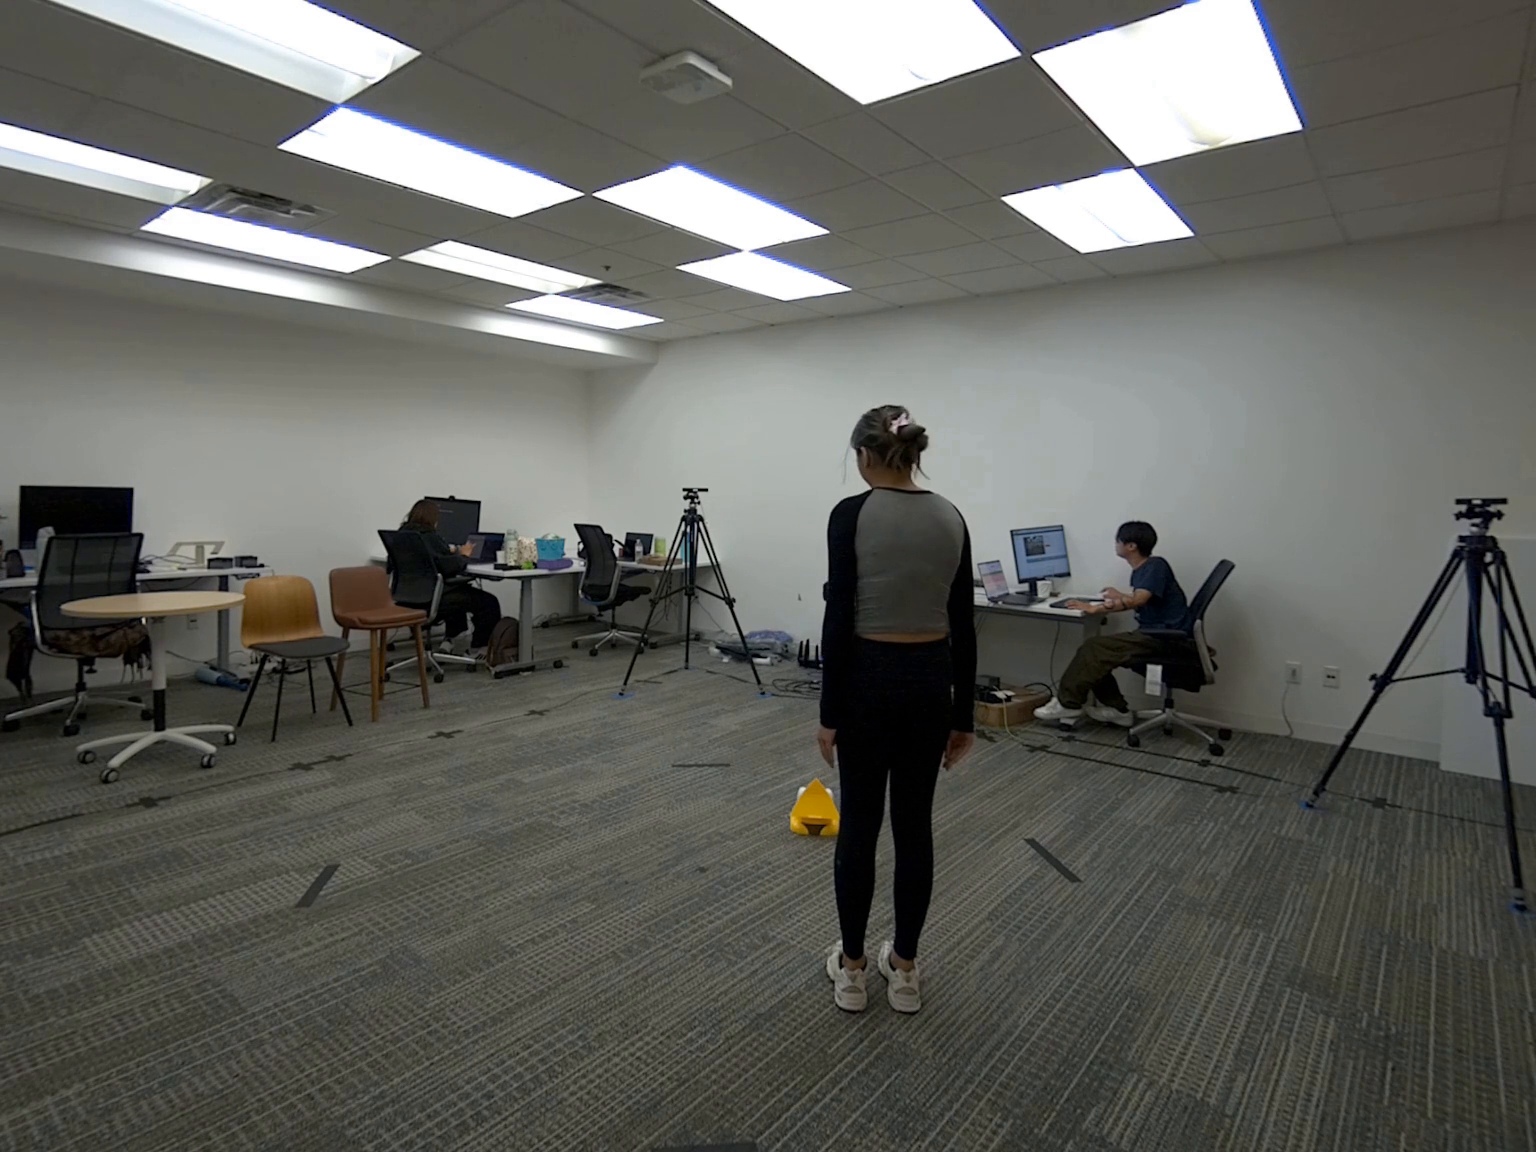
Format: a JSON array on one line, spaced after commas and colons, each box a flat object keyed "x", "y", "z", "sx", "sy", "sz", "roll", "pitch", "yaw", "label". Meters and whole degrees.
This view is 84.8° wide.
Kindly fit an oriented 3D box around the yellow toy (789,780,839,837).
[{"x": 0.183, "y": 0.926, "z": 3.511, "sx": 0.206, "sy": 0.230, "sz": 0.193, "roll": 1, "pitch": 5, "yaw": 4, "label": "yellow toy"}]
